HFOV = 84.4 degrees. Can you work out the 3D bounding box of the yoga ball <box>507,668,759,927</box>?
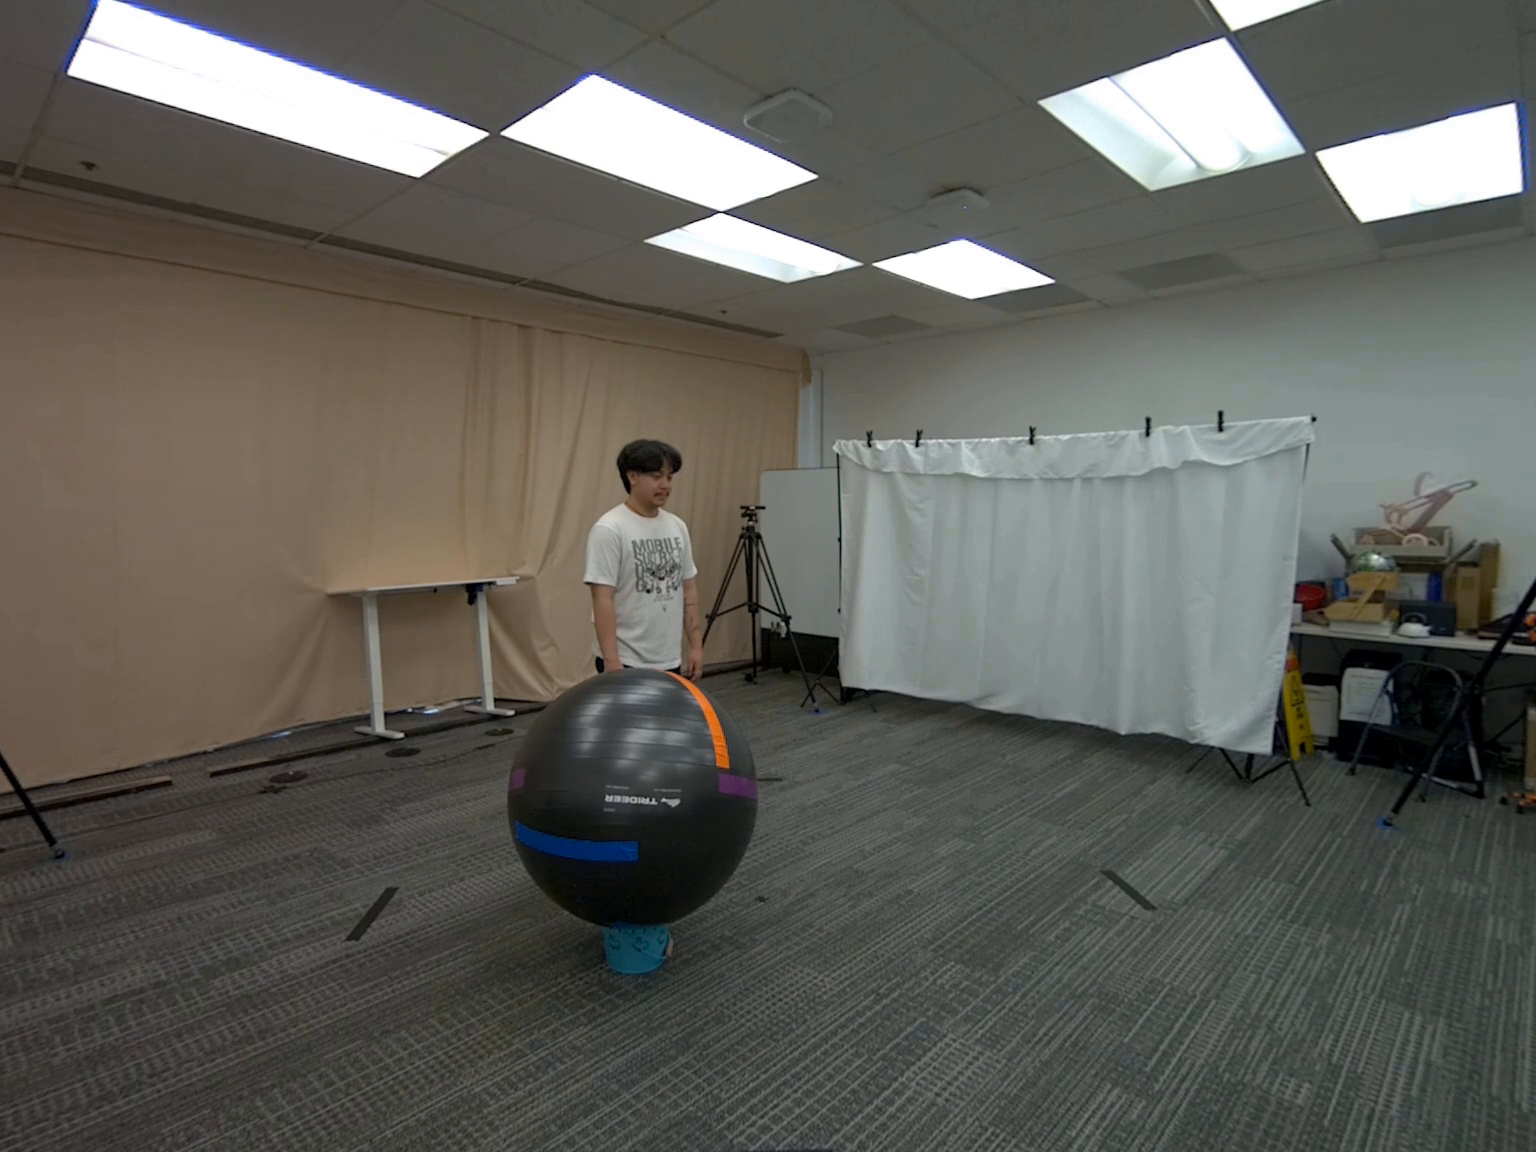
[{"bbox_3d":[-0.408,0.675,2.561,0.757,0.756,0.761,0,4,-2],"label":"yoga ball"}]
